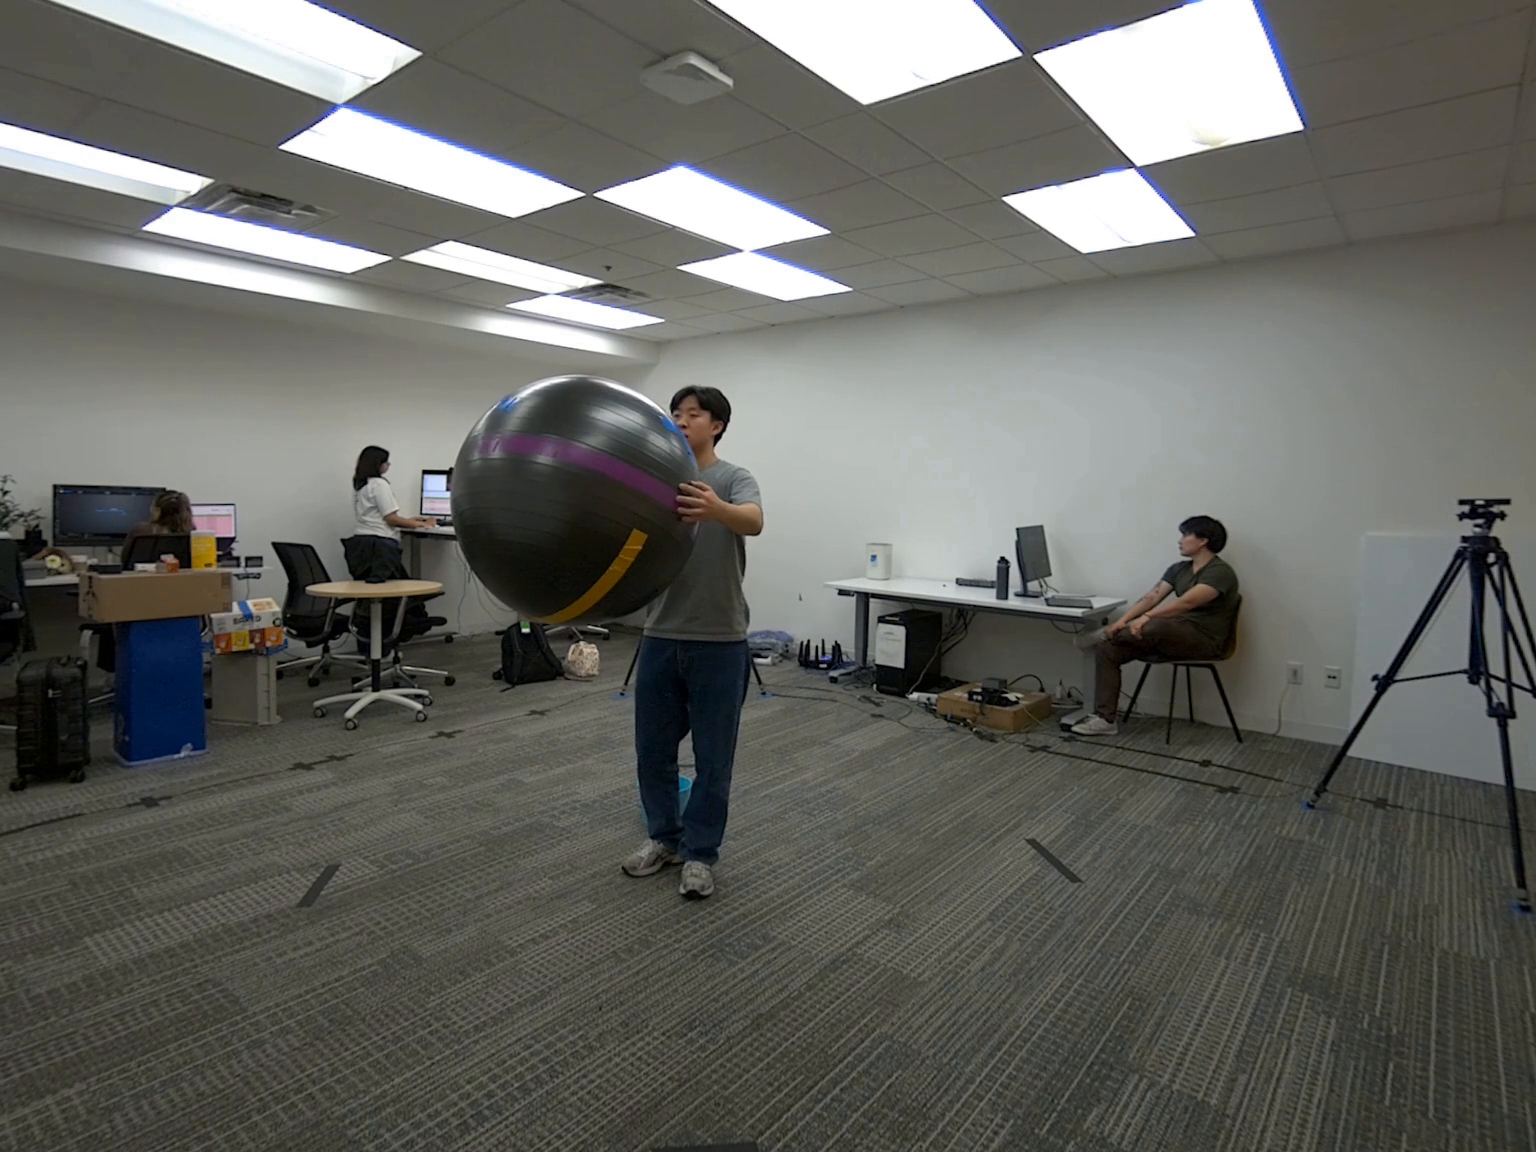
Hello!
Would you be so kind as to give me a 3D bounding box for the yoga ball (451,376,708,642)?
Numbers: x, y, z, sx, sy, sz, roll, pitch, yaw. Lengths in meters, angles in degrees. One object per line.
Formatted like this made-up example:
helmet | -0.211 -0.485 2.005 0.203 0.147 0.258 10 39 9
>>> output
yoga ball | -0.599 -0.222 2.586 0.757 0.756 0.761 1 4 -2
